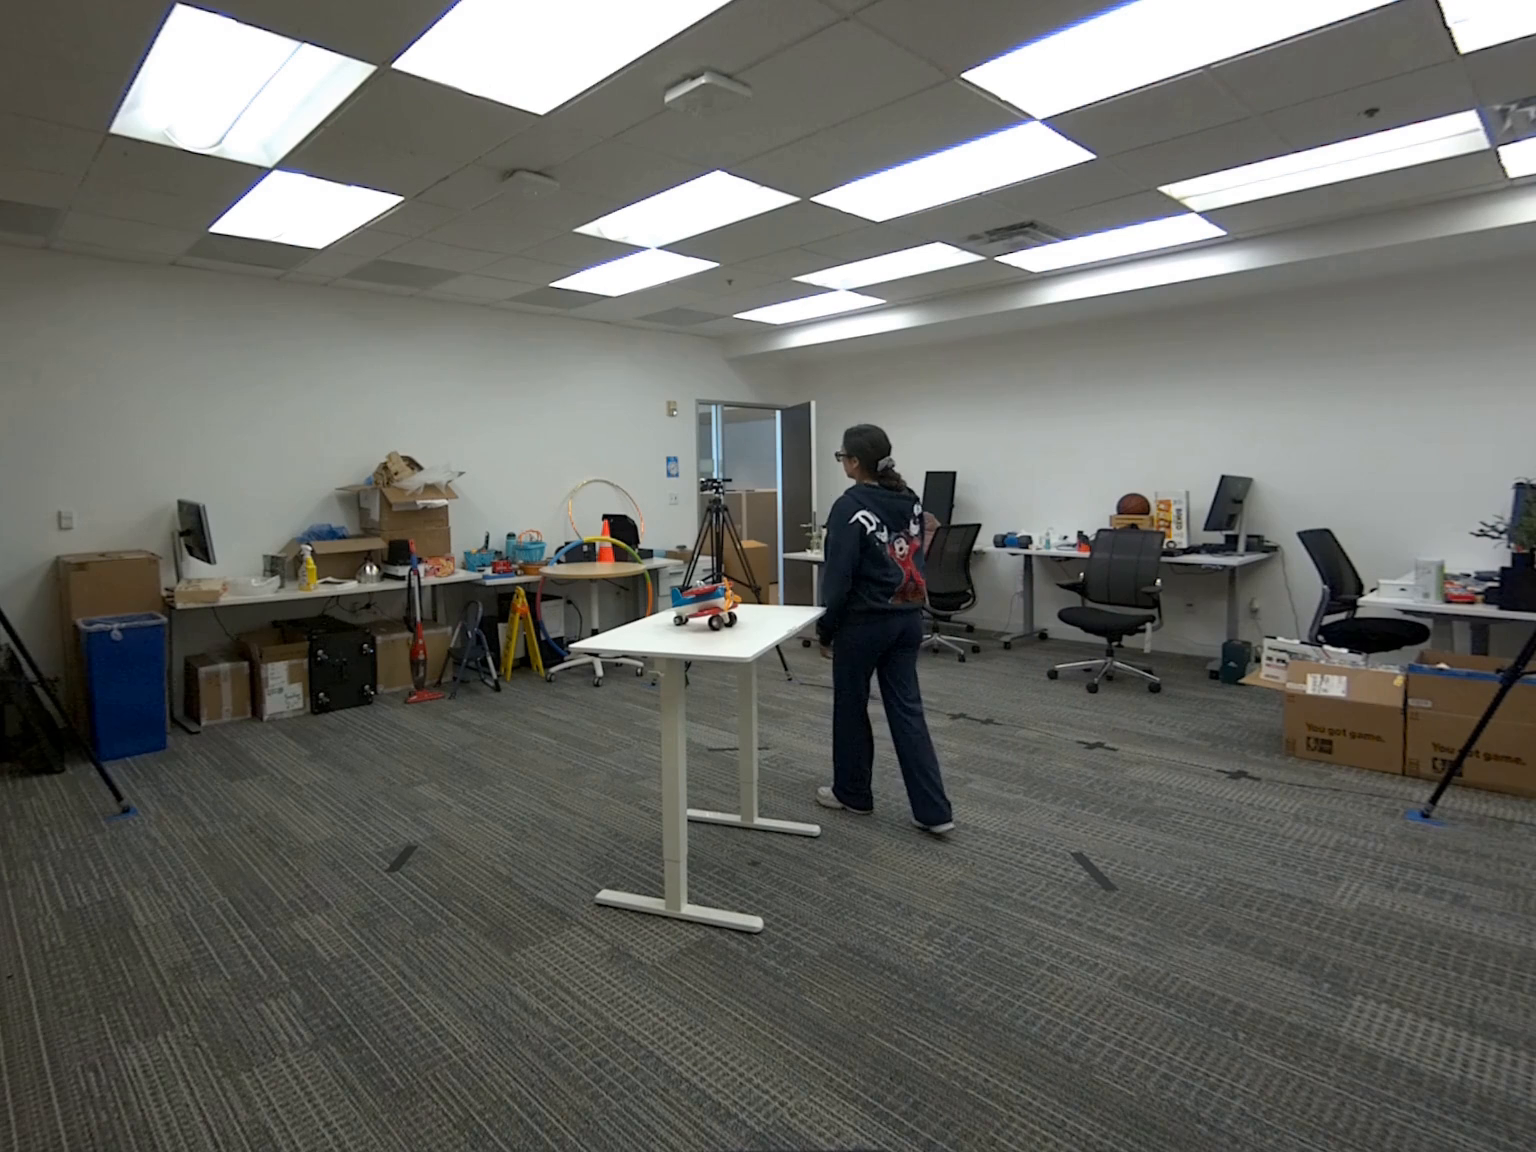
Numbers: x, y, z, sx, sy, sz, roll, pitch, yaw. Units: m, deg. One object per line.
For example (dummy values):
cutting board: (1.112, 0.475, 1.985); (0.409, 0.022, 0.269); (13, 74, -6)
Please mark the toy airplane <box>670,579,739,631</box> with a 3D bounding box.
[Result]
toy airplane: (-0.233, 0.106, 2.974); (0.260, 0.156, 0.251); (0, 5, 2)
